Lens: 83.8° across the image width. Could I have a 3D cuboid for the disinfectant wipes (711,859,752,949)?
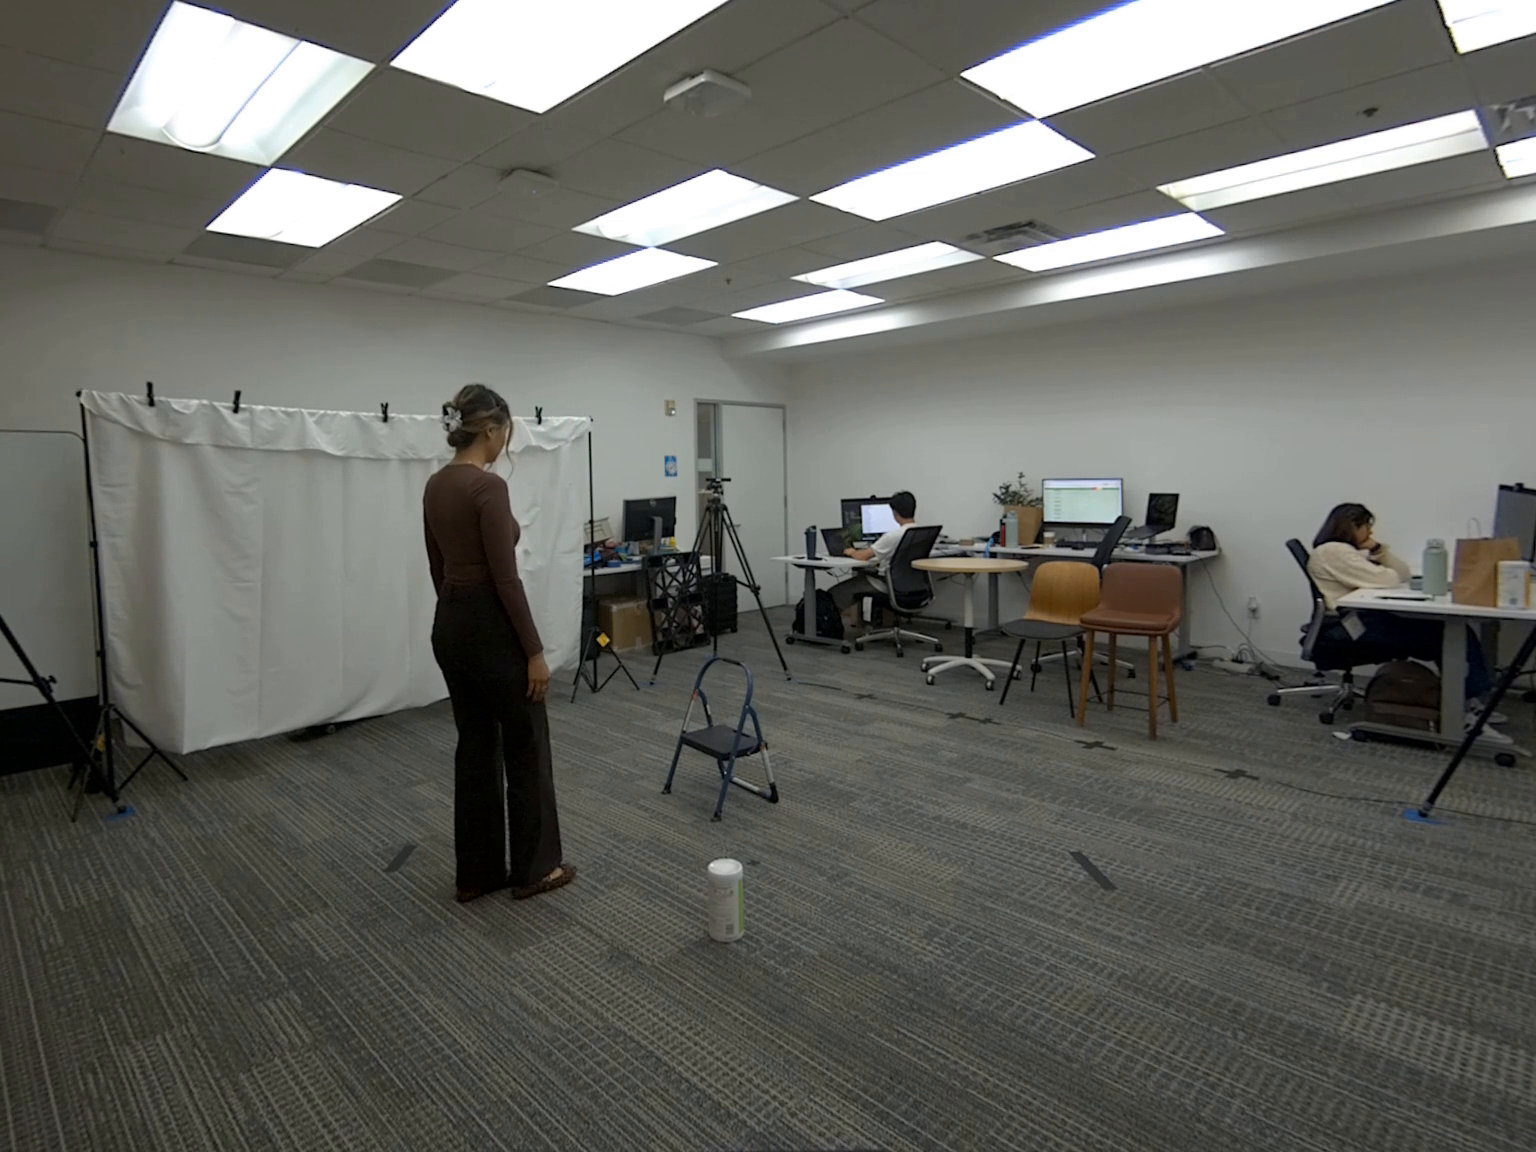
[{"bbox_3d":[-0.113,0.997,2.612,0.118,0.217,0.118,-1,2,-2],"label":"disinfectant wipes"}]
